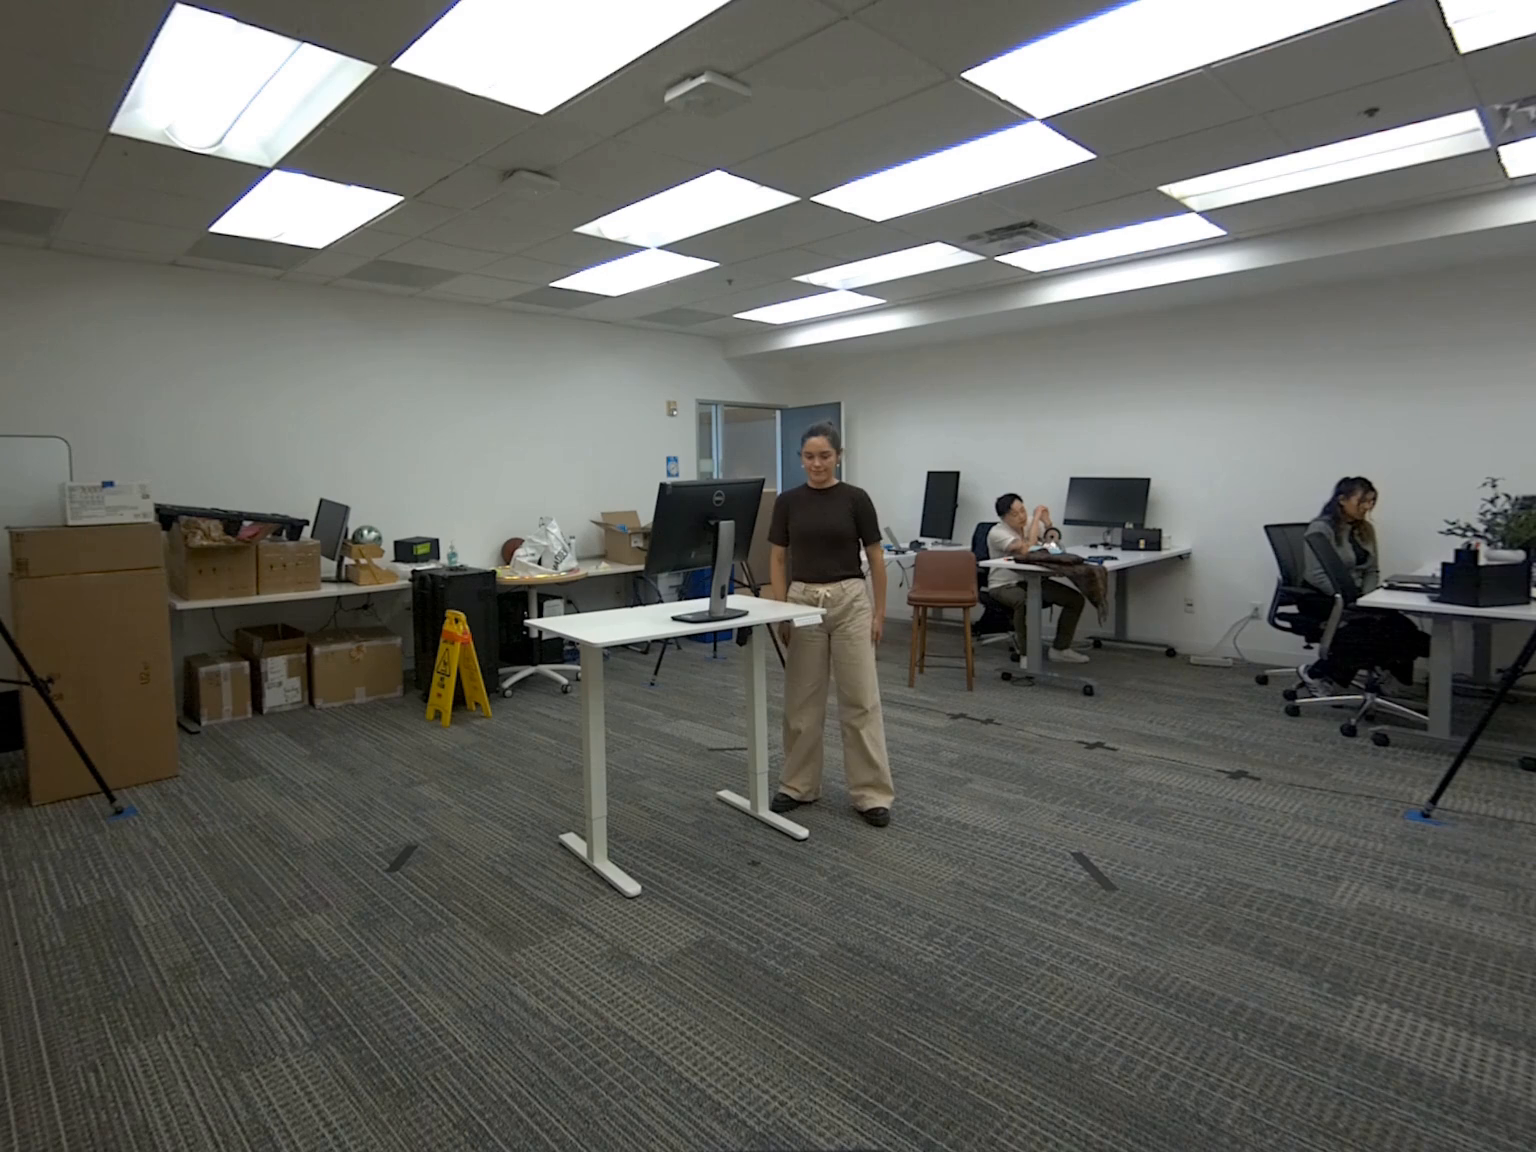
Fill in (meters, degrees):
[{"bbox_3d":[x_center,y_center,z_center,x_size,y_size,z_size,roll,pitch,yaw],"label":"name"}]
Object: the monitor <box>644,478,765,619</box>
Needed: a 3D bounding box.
[{"bbox_3d":[-0.208,-0.096,3.164,0.193,0.519,0.526,6,9,39],"label":"monitor"}]
